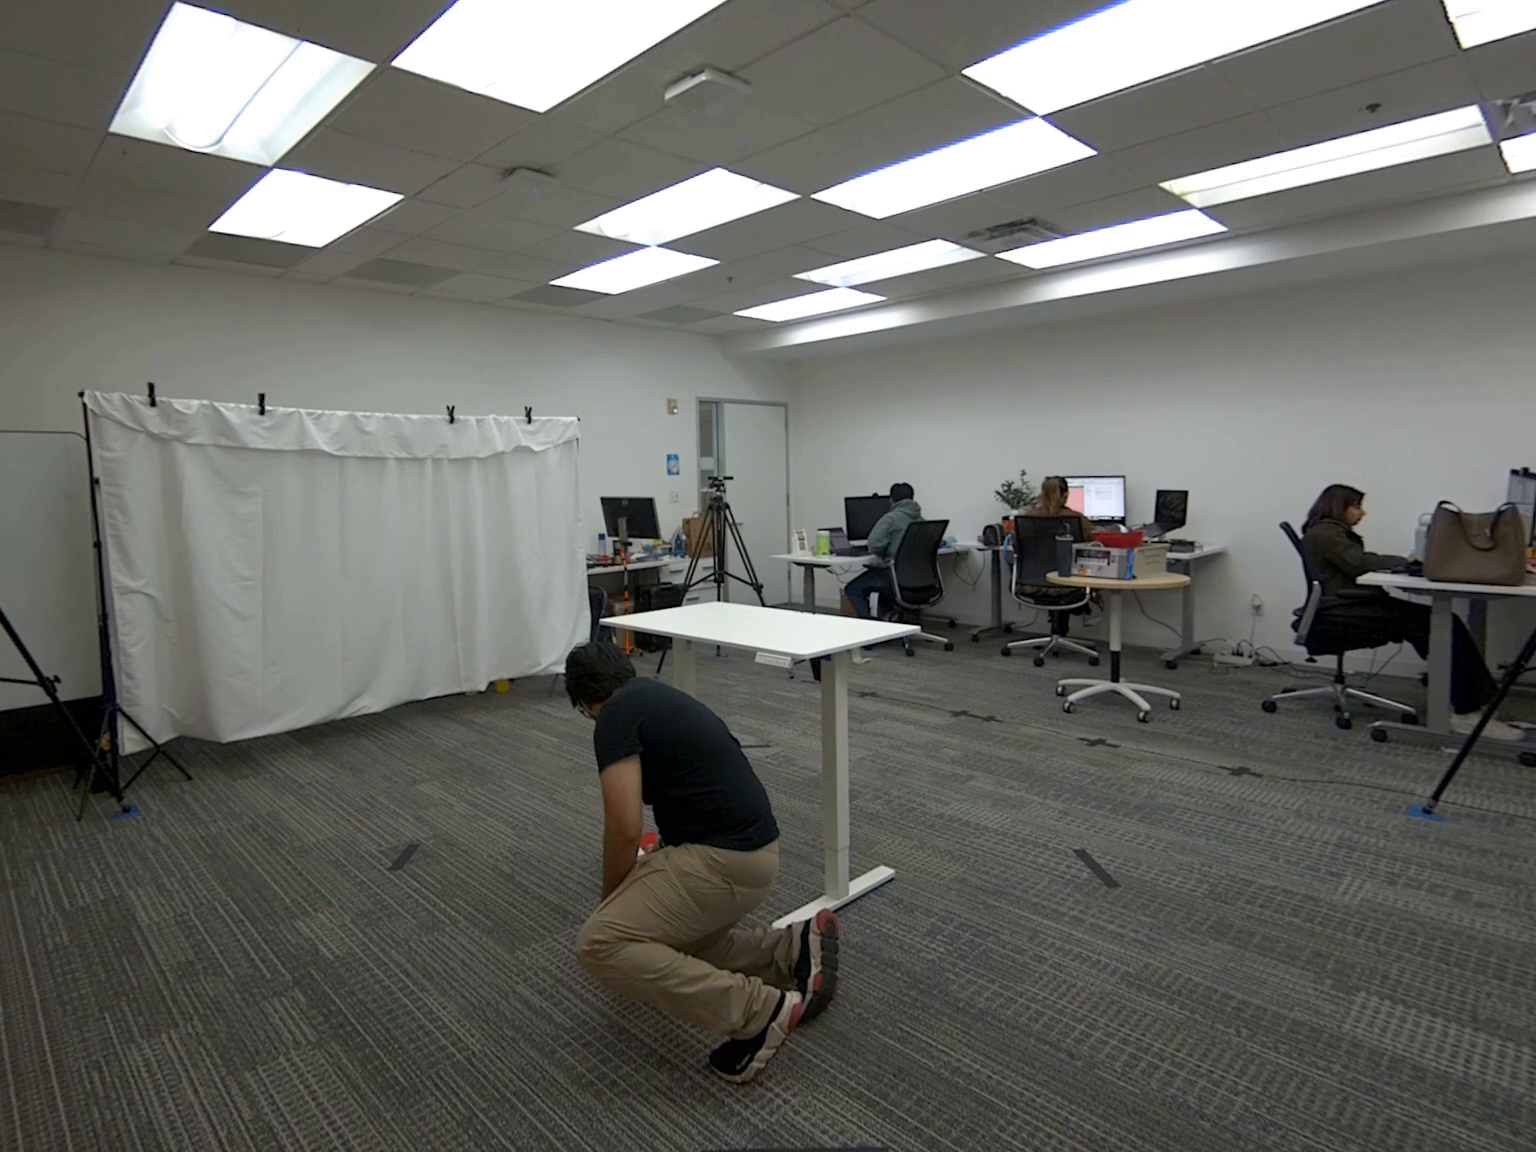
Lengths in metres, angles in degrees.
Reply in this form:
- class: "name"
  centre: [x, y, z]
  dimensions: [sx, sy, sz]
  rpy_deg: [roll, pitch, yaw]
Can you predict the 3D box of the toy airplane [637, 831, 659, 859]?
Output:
- class: "toy airplane"
  centre: [-0.366, 1.004, 2.893]
  dimensions: [0.257, 0.155, 0.254]
  rpy_deg: [4, 7, 26]
